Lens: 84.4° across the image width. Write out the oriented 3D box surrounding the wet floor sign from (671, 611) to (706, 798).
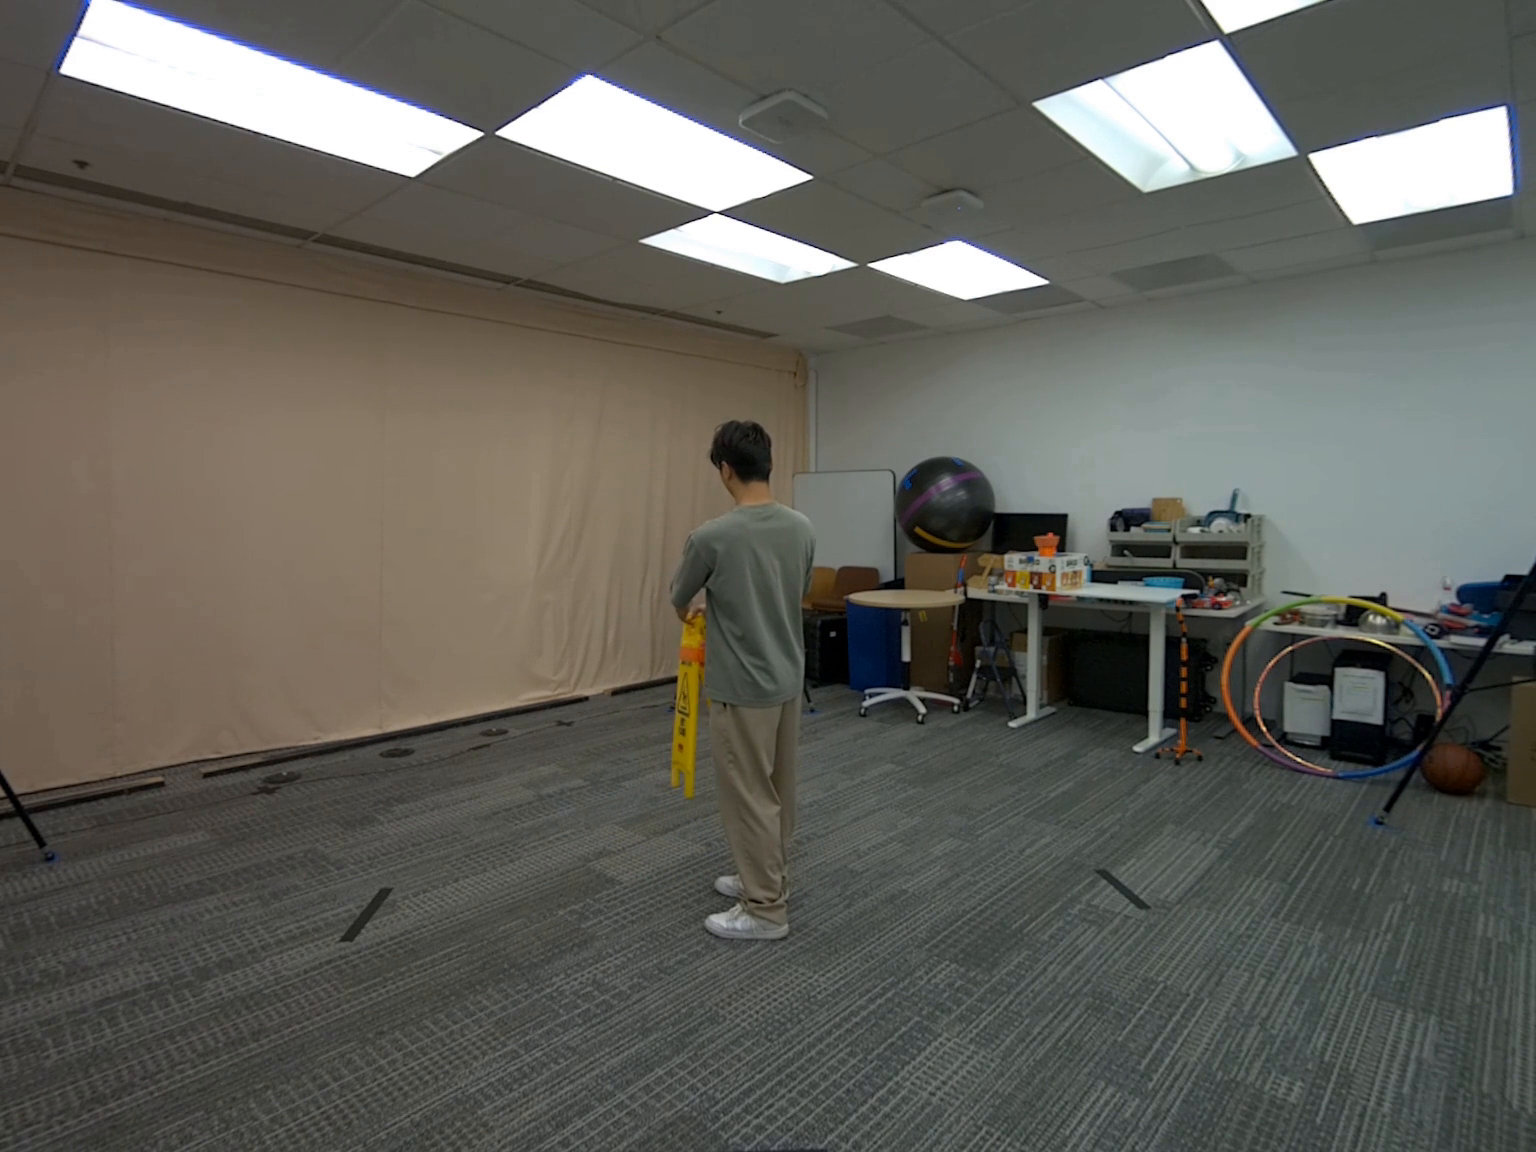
[{"bbox_3d":[-0.244,0.470,3.195,0.284,0.646,0.288,-6,0,-20],"label":"wet floor sign"}]
